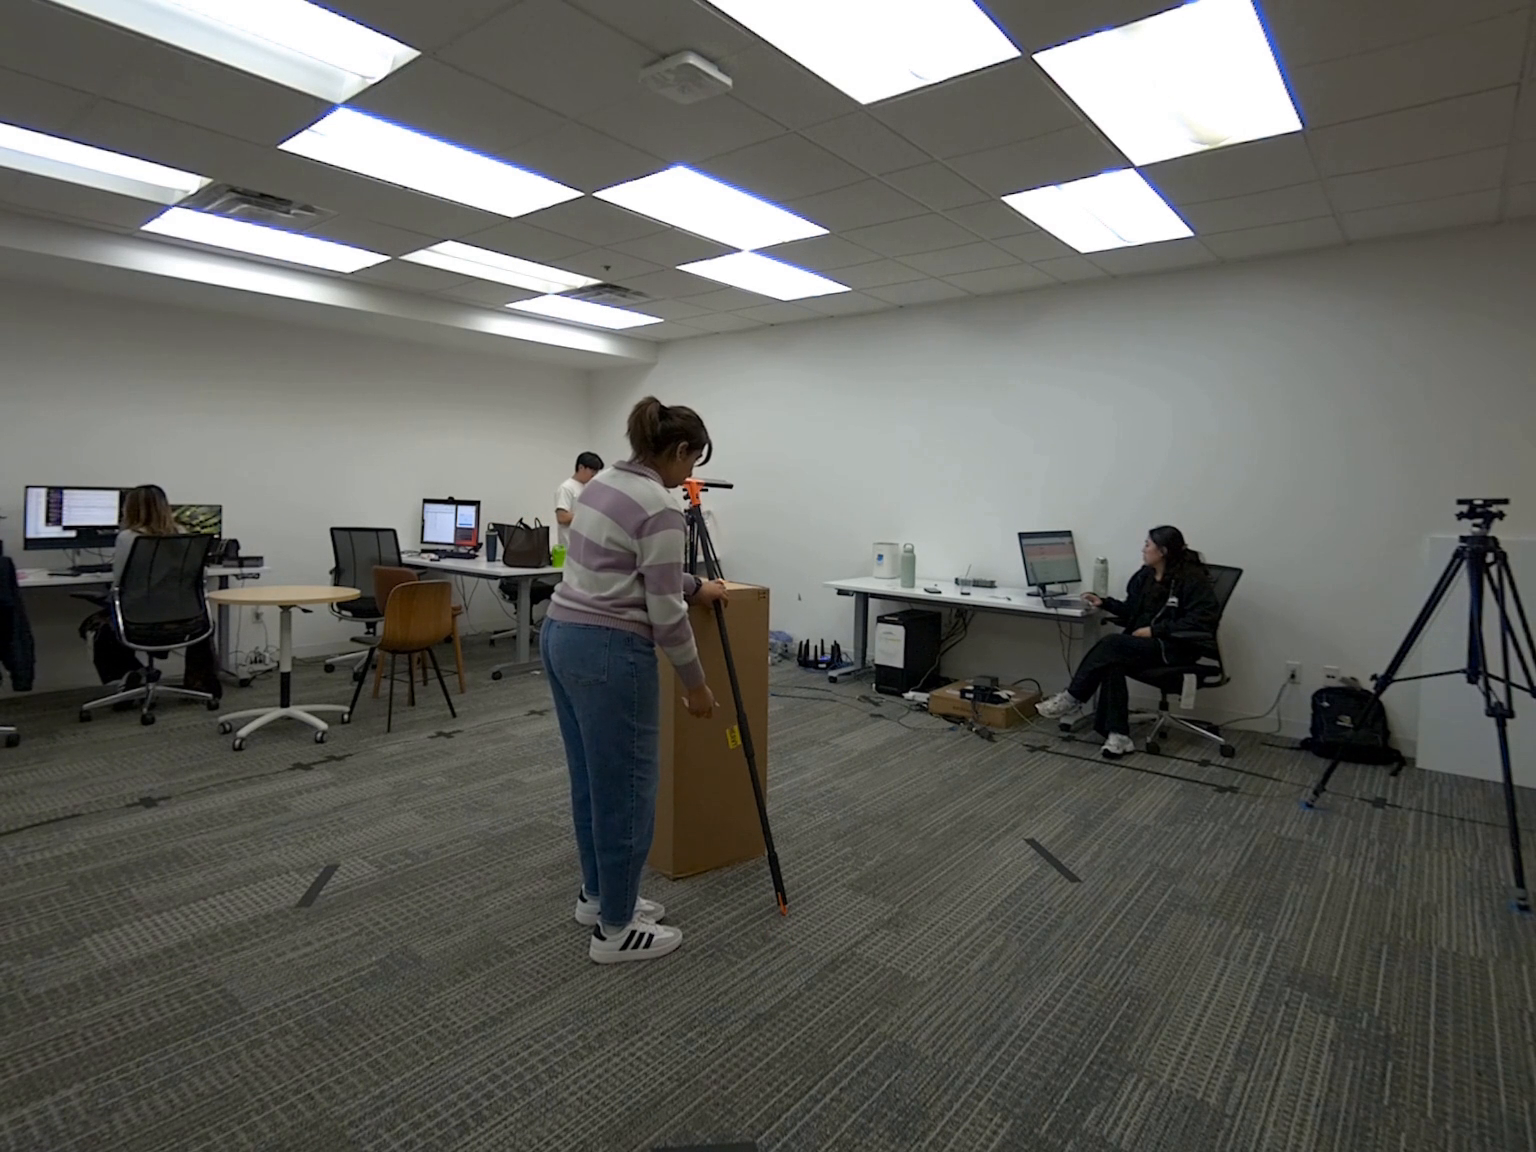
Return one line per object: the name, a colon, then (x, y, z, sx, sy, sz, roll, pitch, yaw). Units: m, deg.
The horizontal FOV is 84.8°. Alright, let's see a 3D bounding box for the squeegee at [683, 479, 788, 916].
squeegee: (-0.116, 0.358, 2.963, 0.424, 1.563, 0.054, -1, -19, -46)
